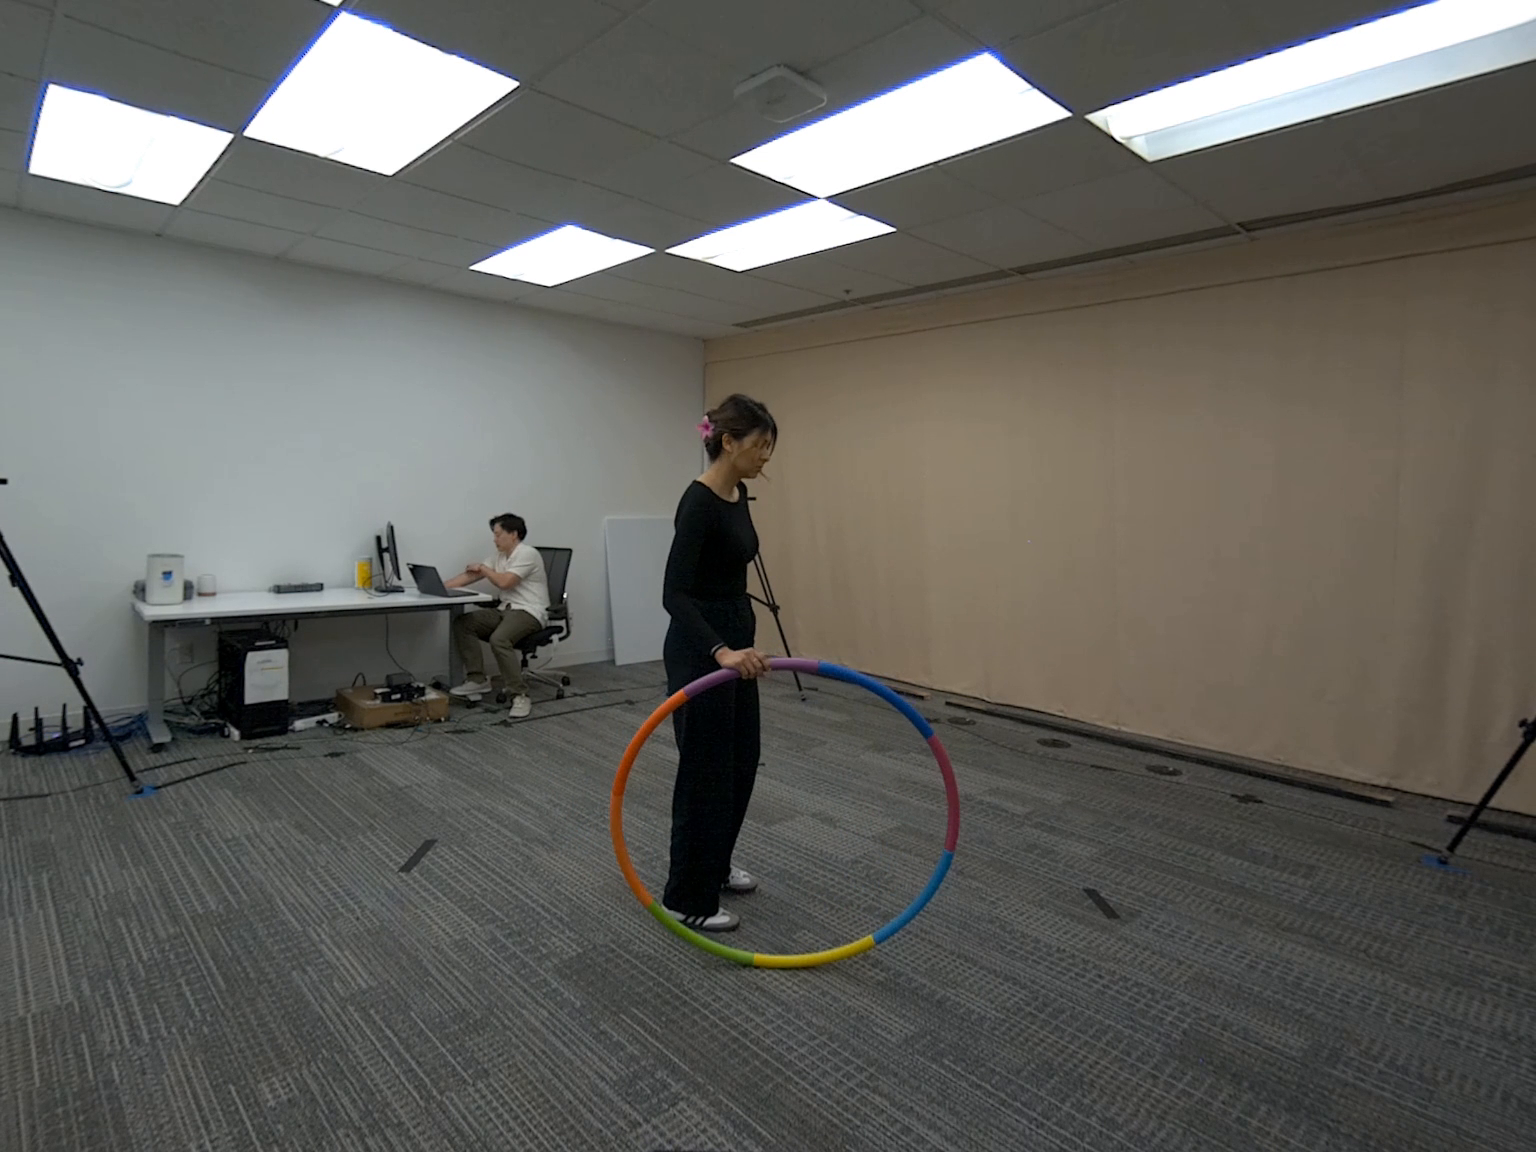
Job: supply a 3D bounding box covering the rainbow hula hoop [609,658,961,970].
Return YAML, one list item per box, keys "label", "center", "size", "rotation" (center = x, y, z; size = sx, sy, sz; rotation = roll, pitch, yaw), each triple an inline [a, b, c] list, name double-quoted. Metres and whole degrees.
- label: "rainbow hula hoop"
  center: [0.054, 0.698, 2.395]
  size: [0.977, 0.968, 0.036]
  rotation: [1, 14, -1]
